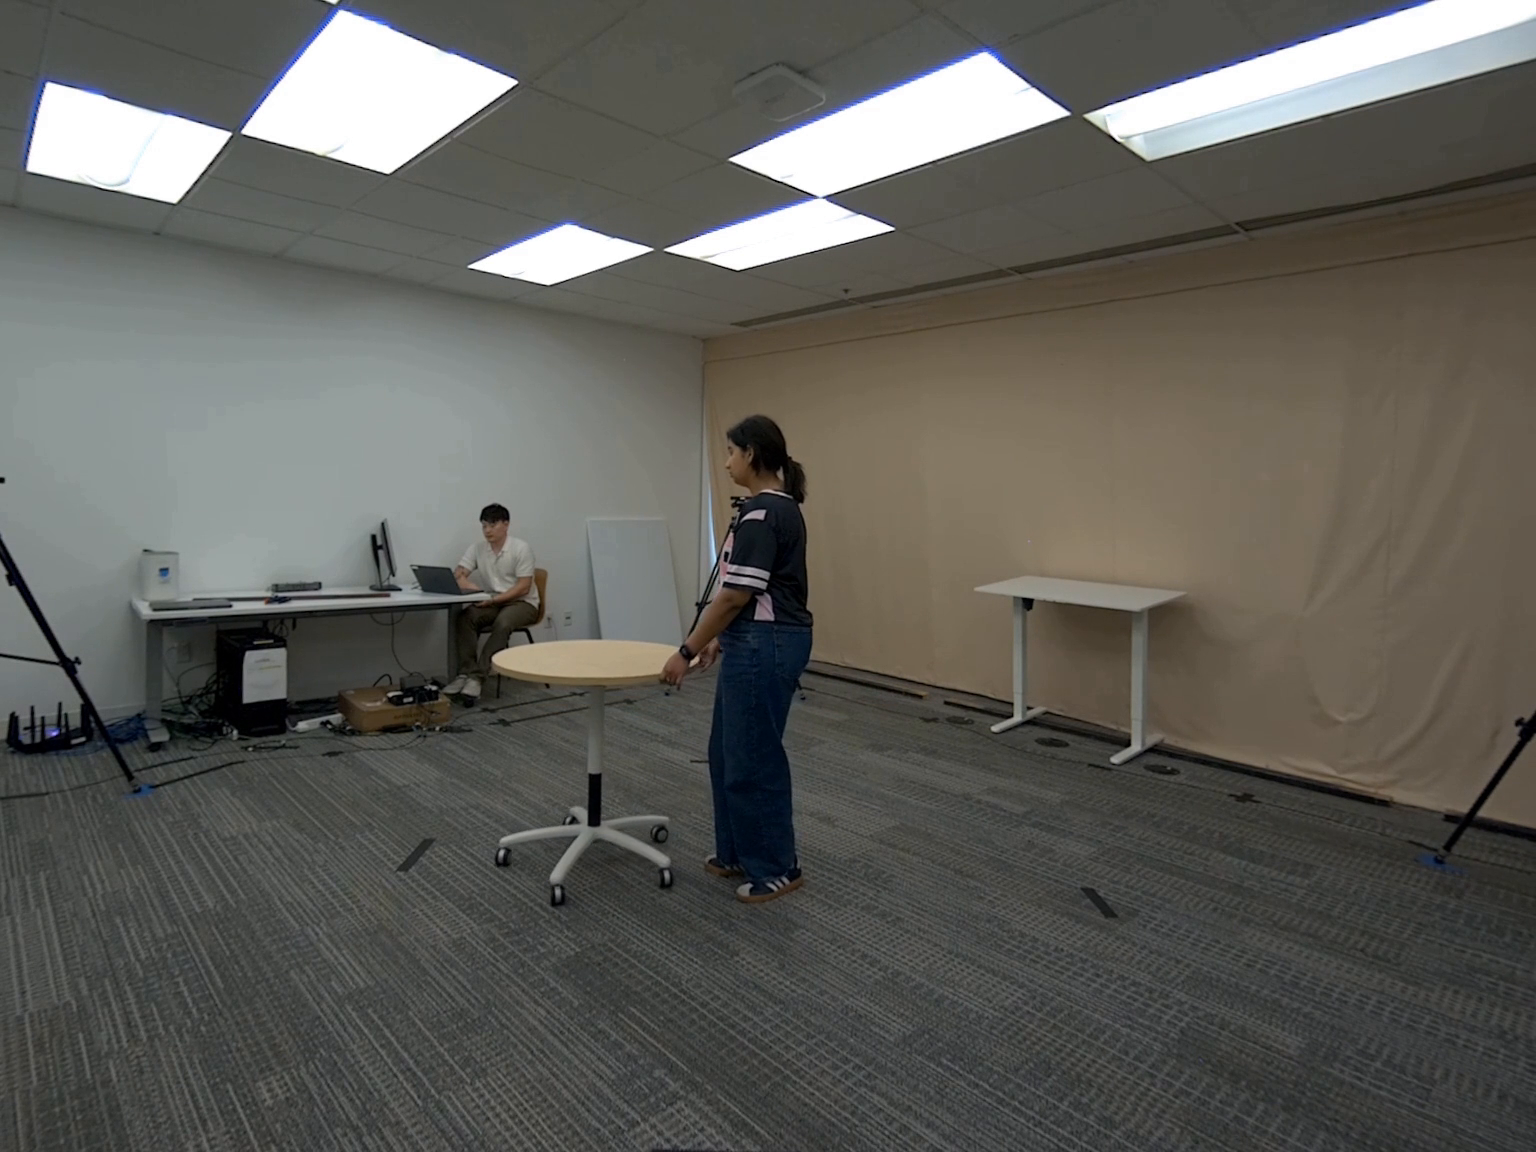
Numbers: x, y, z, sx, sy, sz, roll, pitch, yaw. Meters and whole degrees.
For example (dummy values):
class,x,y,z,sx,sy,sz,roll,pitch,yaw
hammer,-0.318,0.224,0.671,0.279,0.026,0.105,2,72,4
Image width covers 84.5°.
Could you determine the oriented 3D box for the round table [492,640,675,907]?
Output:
class,x,y,z,sx,sy,sz,roll,pitch,yaw
round table,-0.645,0.691,3.161,0.784,0.785,0.787,1,4,-1
